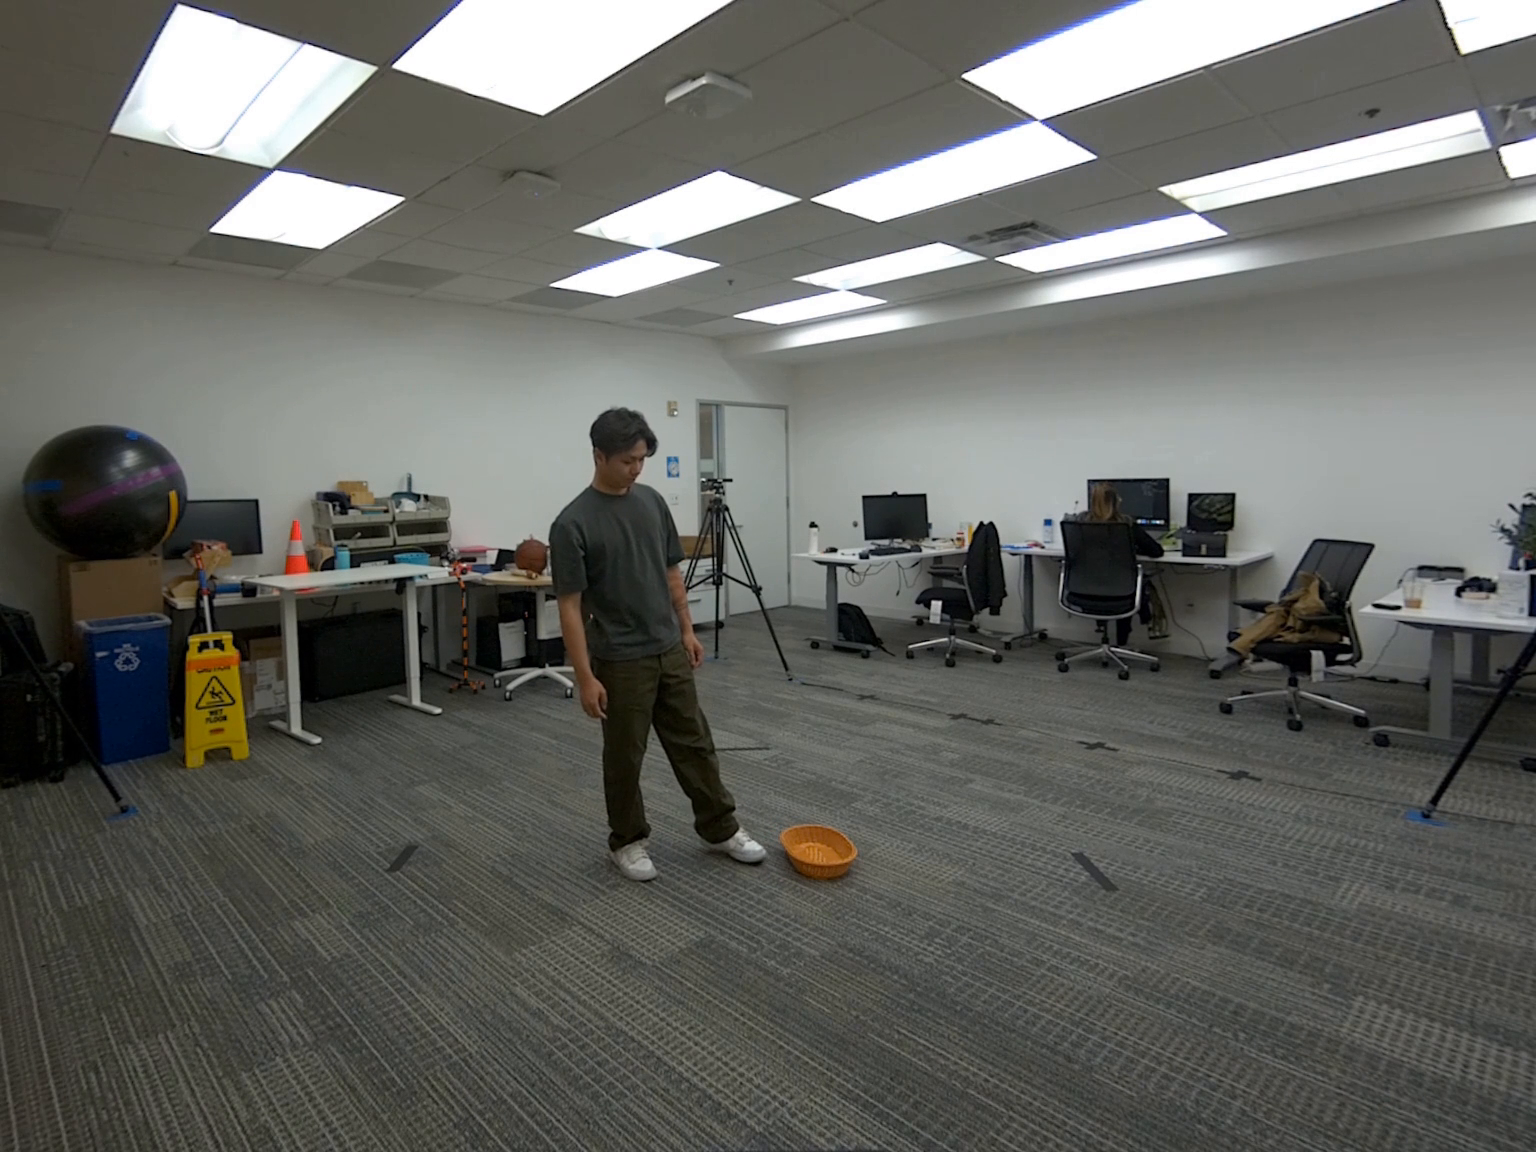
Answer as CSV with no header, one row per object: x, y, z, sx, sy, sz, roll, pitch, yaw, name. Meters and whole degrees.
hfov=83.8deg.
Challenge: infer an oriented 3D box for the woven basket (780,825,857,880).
0.178,0.997,3.105,0.249,0.073,0.356,-2,6,-14,woven basket
